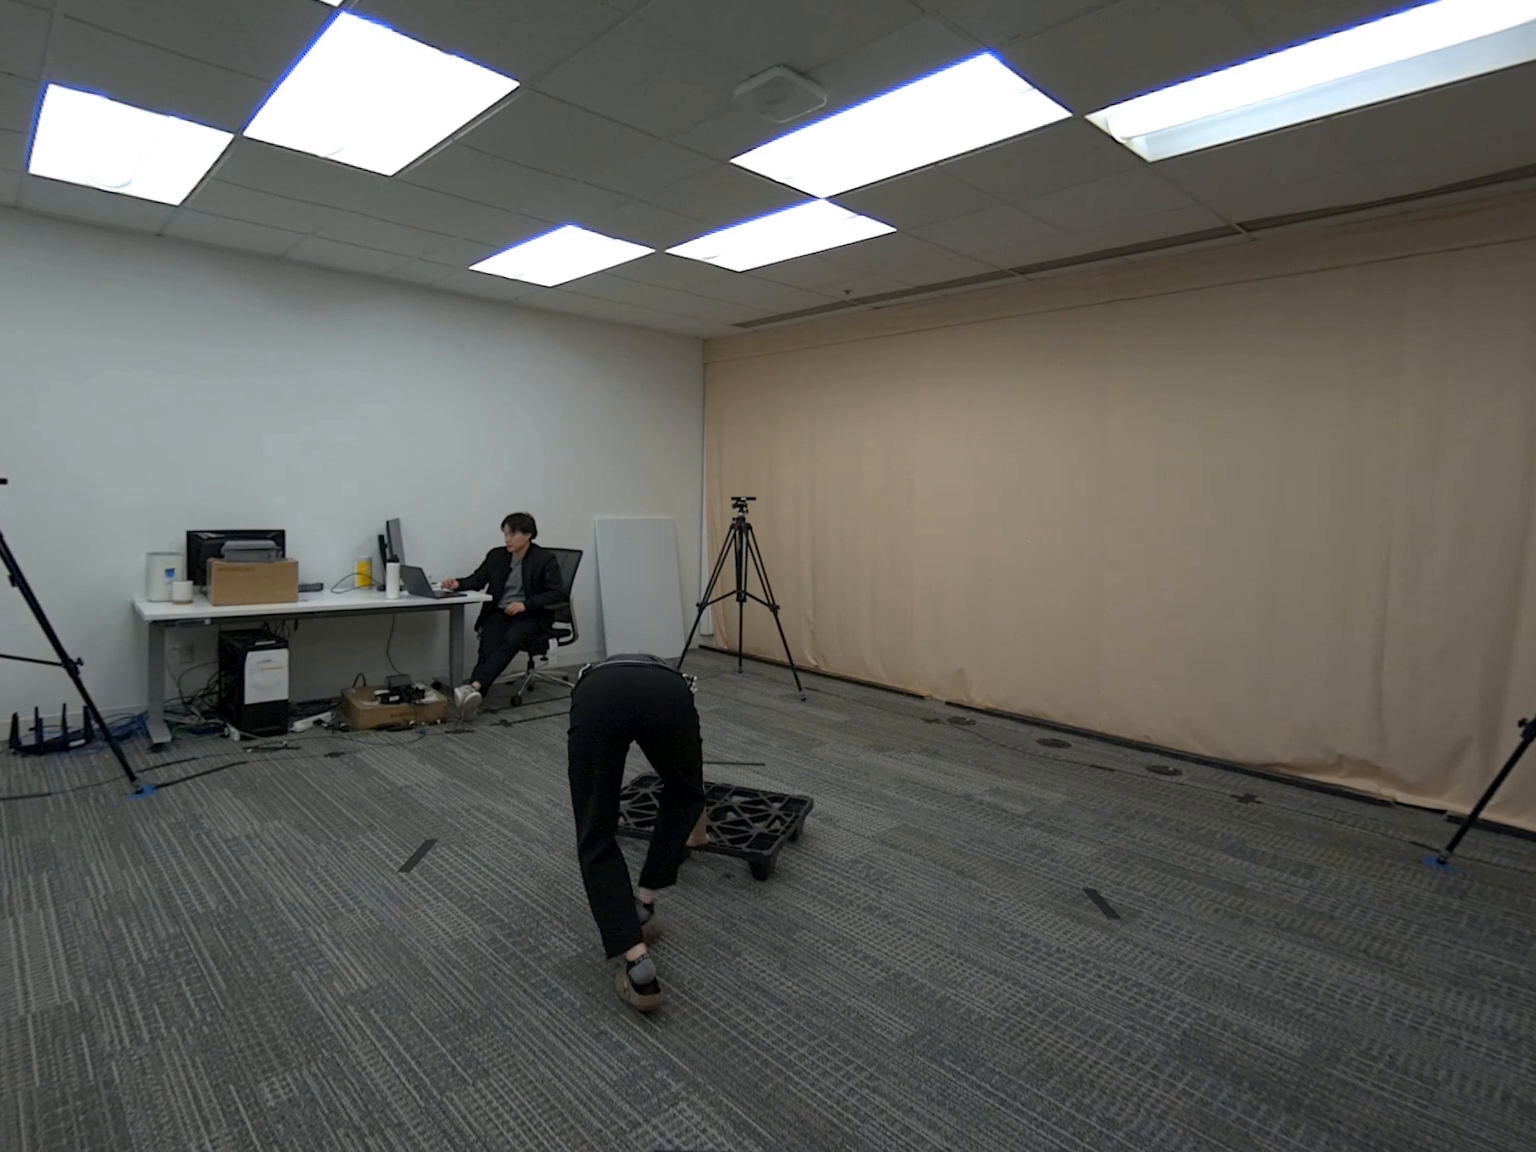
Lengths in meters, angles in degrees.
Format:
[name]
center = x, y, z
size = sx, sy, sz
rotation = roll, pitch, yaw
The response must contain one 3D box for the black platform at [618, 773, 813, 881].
[black platform]
center = -0.285, 1.003, 3.407
size = 0.819, 0.143, 0.597
rotation = 3, 6, 20
